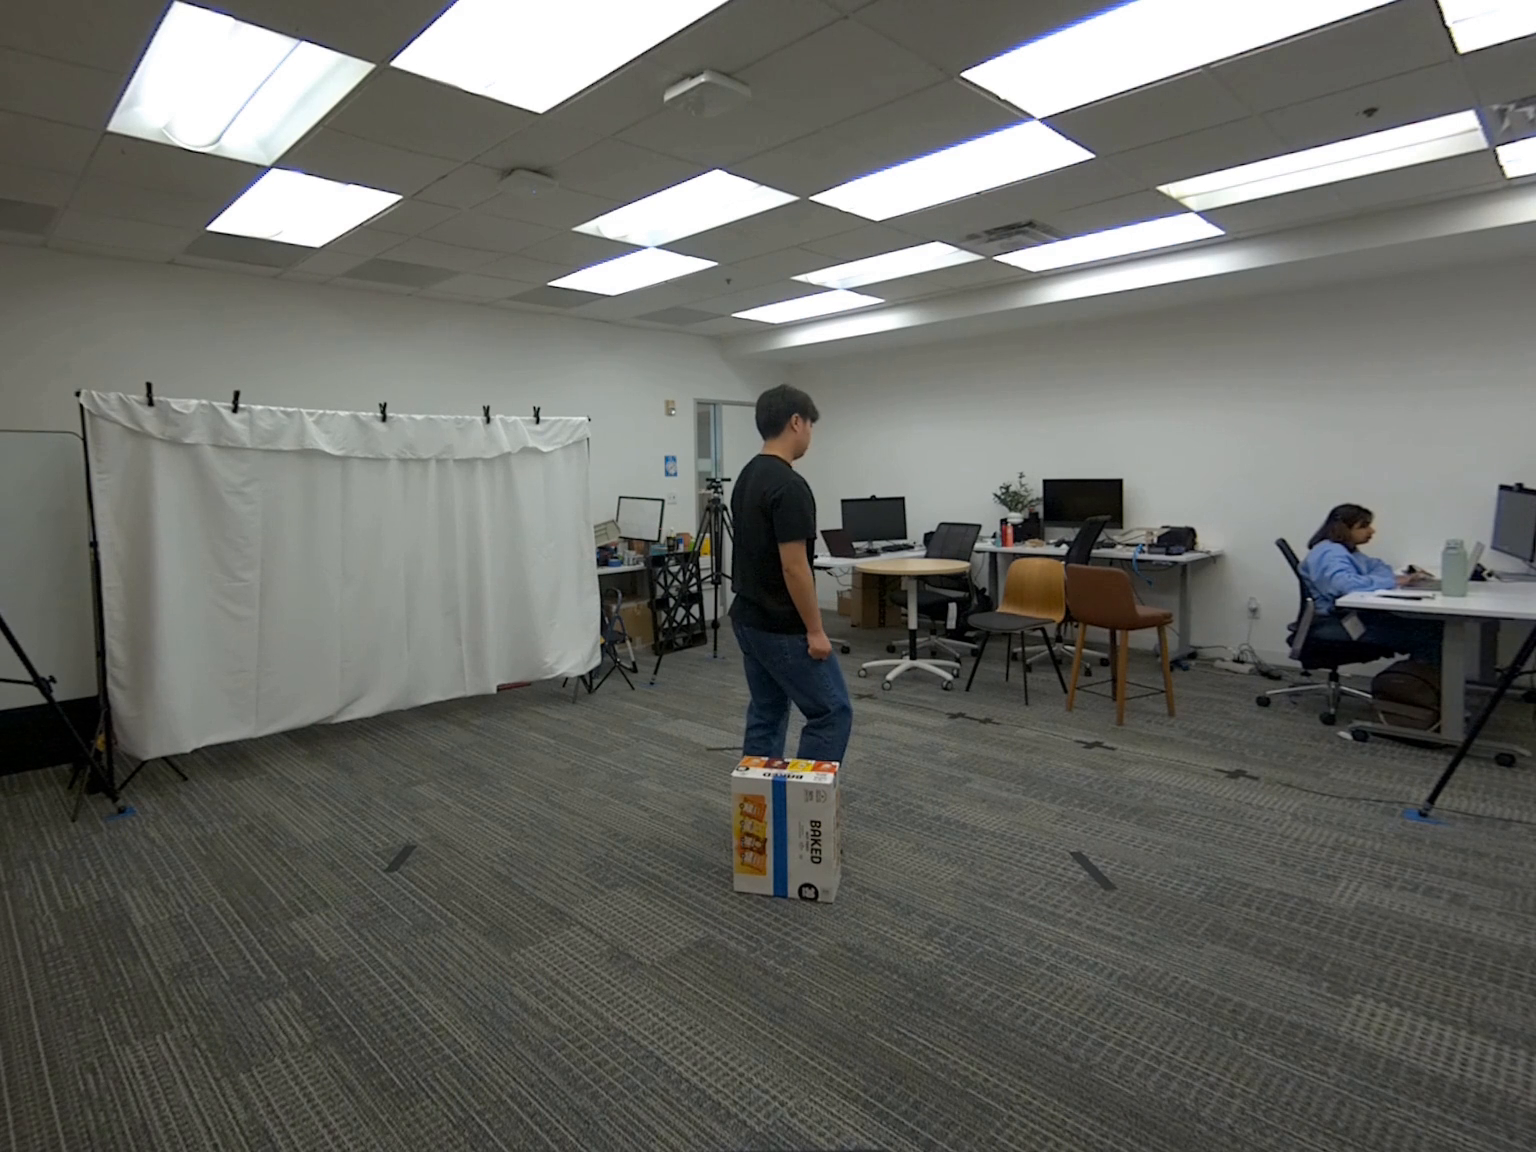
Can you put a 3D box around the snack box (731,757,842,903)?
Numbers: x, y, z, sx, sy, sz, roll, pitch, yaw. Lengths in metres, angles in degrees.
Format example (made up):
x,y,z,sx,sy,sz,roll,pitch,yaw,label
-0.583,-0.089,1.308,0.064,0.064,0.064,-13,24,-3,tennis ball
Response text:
x,y,z,sx,sy,sz,roll,pitch,yaw,label
0.066,0.860,2.928,0.345,0.403,0.203,0,5,15,snack box
